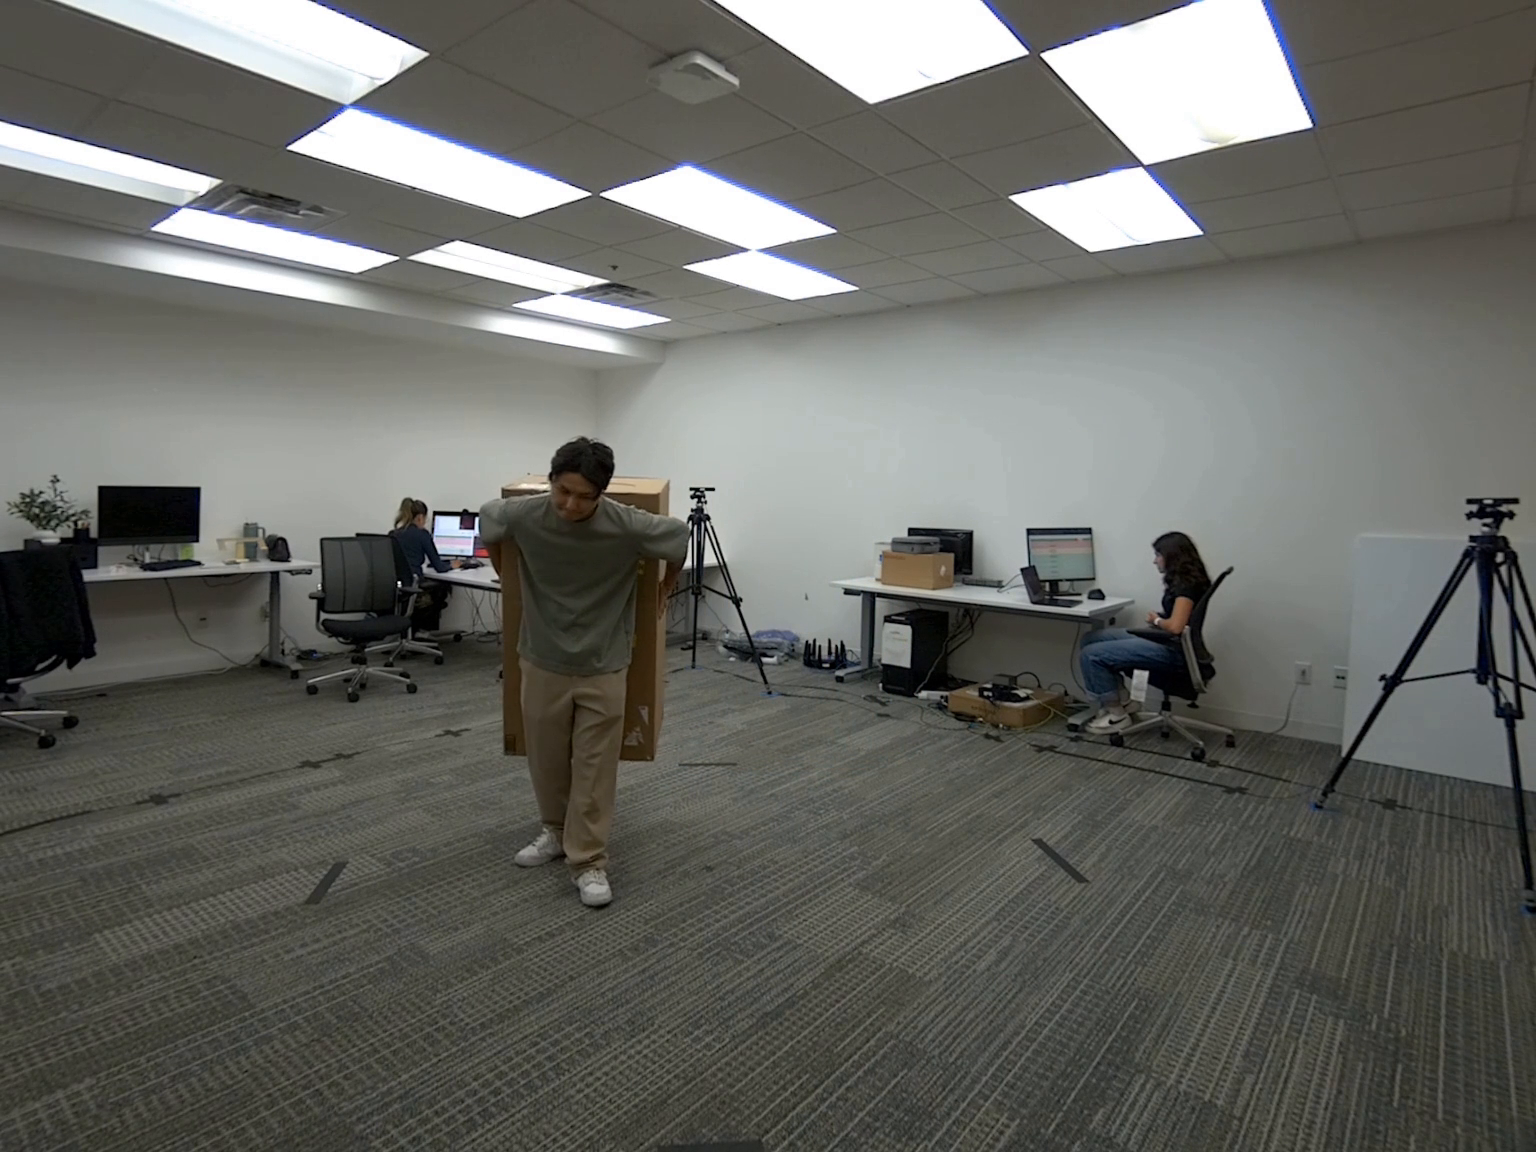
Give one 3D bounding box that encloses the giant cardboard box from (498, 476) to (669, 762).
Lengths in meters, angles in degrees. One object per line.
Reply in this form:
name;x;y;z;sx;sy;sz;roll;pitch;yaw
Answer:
giant cardboard box;-0.713;0.143;3.319;0.578;1.016;0.430;3;10;-1
